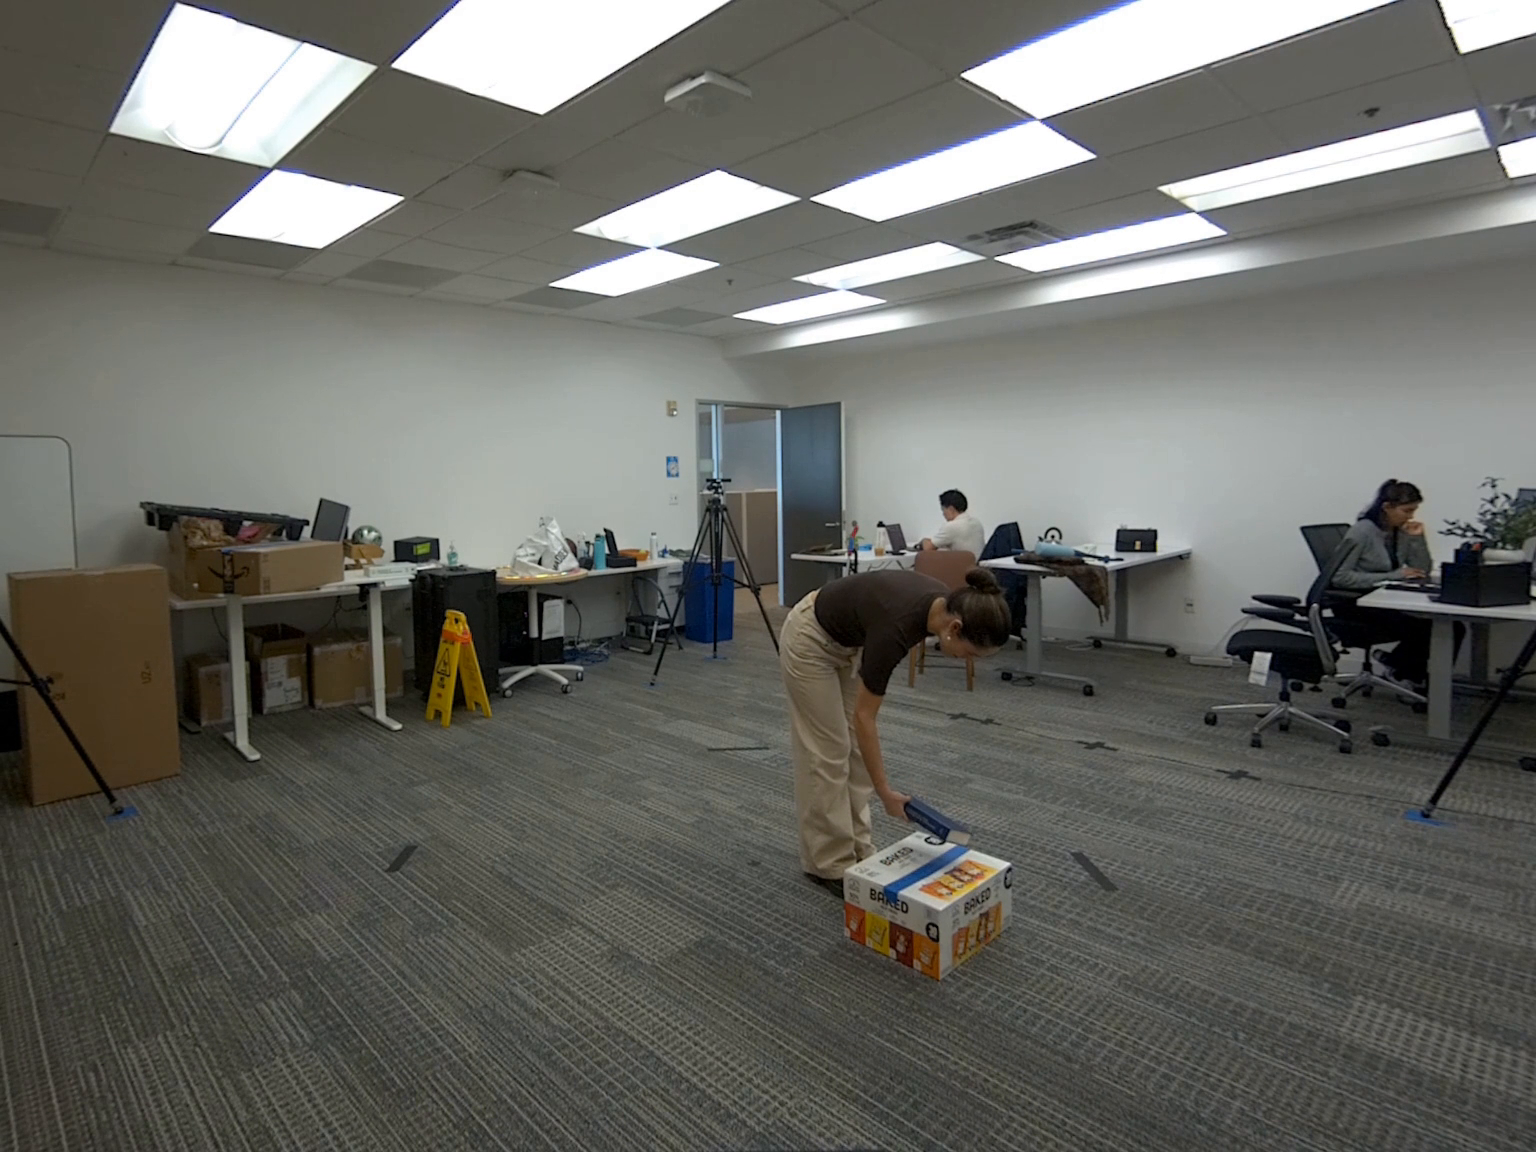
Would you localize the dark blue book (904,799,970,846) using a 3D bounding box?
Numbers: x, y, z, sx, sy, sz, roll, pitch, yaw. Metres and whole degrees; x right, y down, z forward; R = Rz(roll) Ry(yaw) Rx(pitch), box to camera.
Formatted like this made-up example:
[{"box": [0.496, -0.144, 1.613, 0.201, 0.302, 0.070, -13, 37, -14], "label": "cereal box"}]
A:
[{"box": [0.500, 0.758, 2.675, 0.254, 0.045, 0.157, 23, -2, 45], "label": "dark blue book"}]
